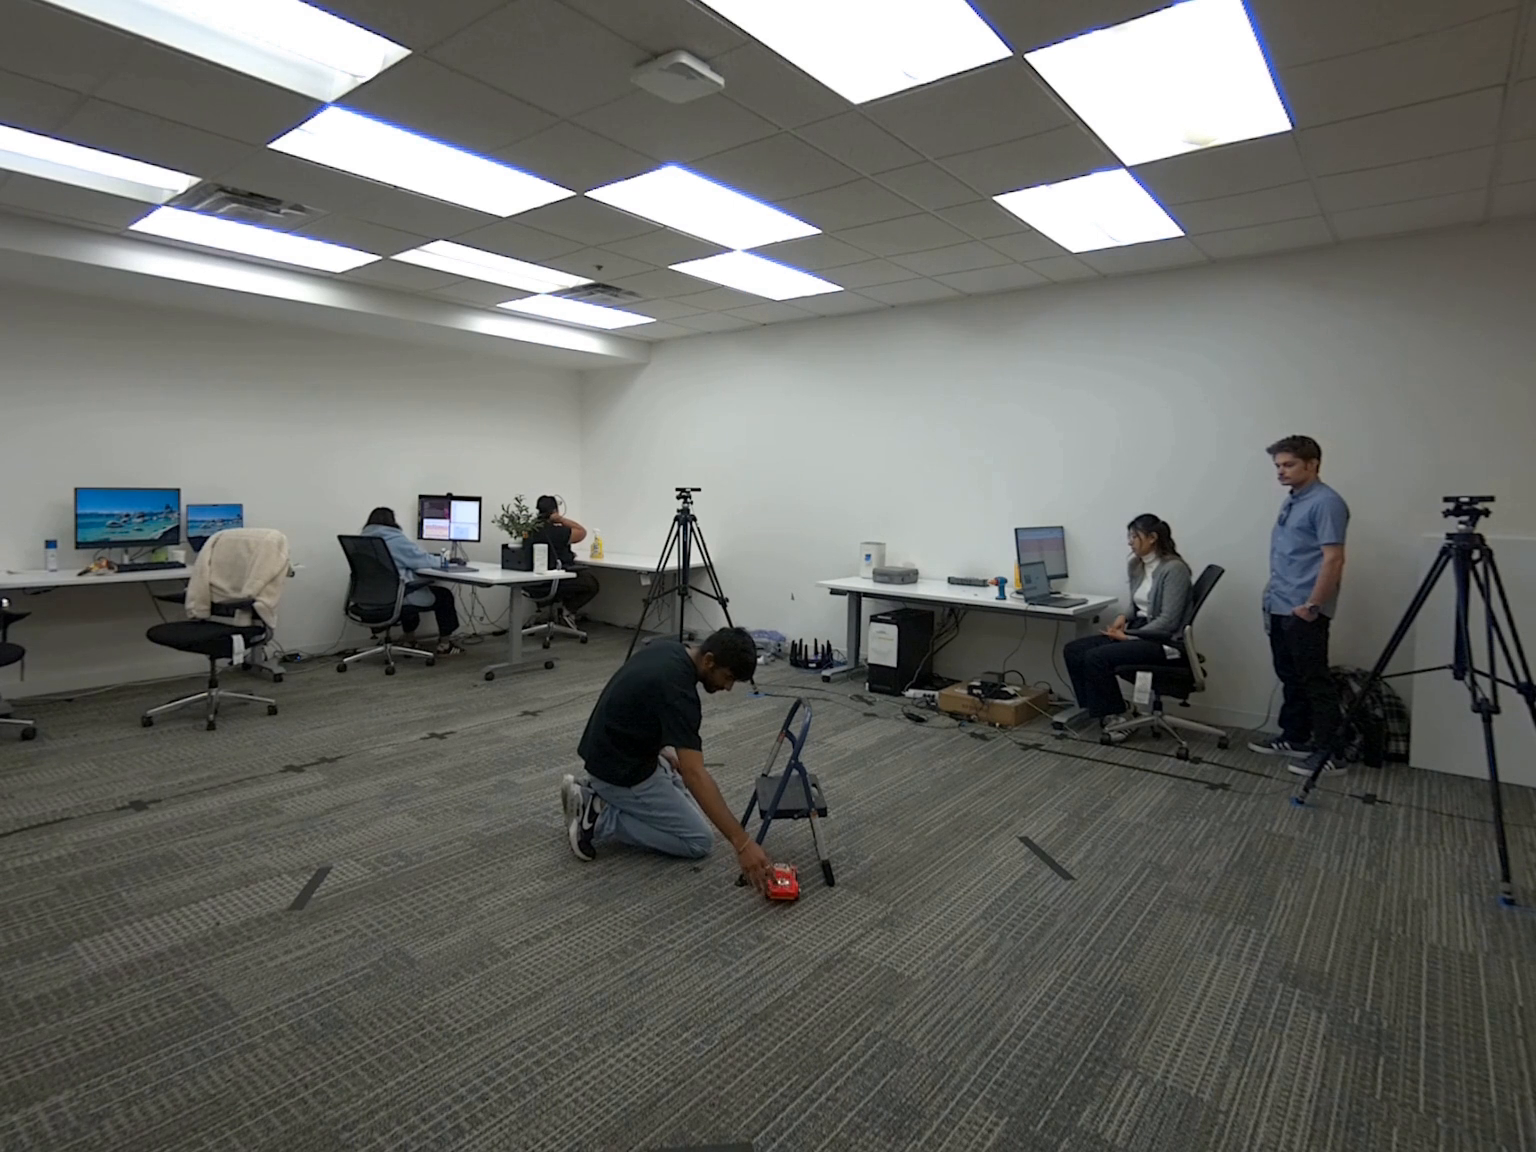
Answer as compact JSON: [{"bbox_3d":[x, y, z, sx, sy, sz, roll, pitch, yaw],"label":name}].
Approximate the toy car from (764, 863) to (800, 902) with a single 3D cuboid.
[{"bbox_3d":[0.041,1.058,2.943,0.130,0.084,0.252,2,-7,-1],"label":"toy car"}]
